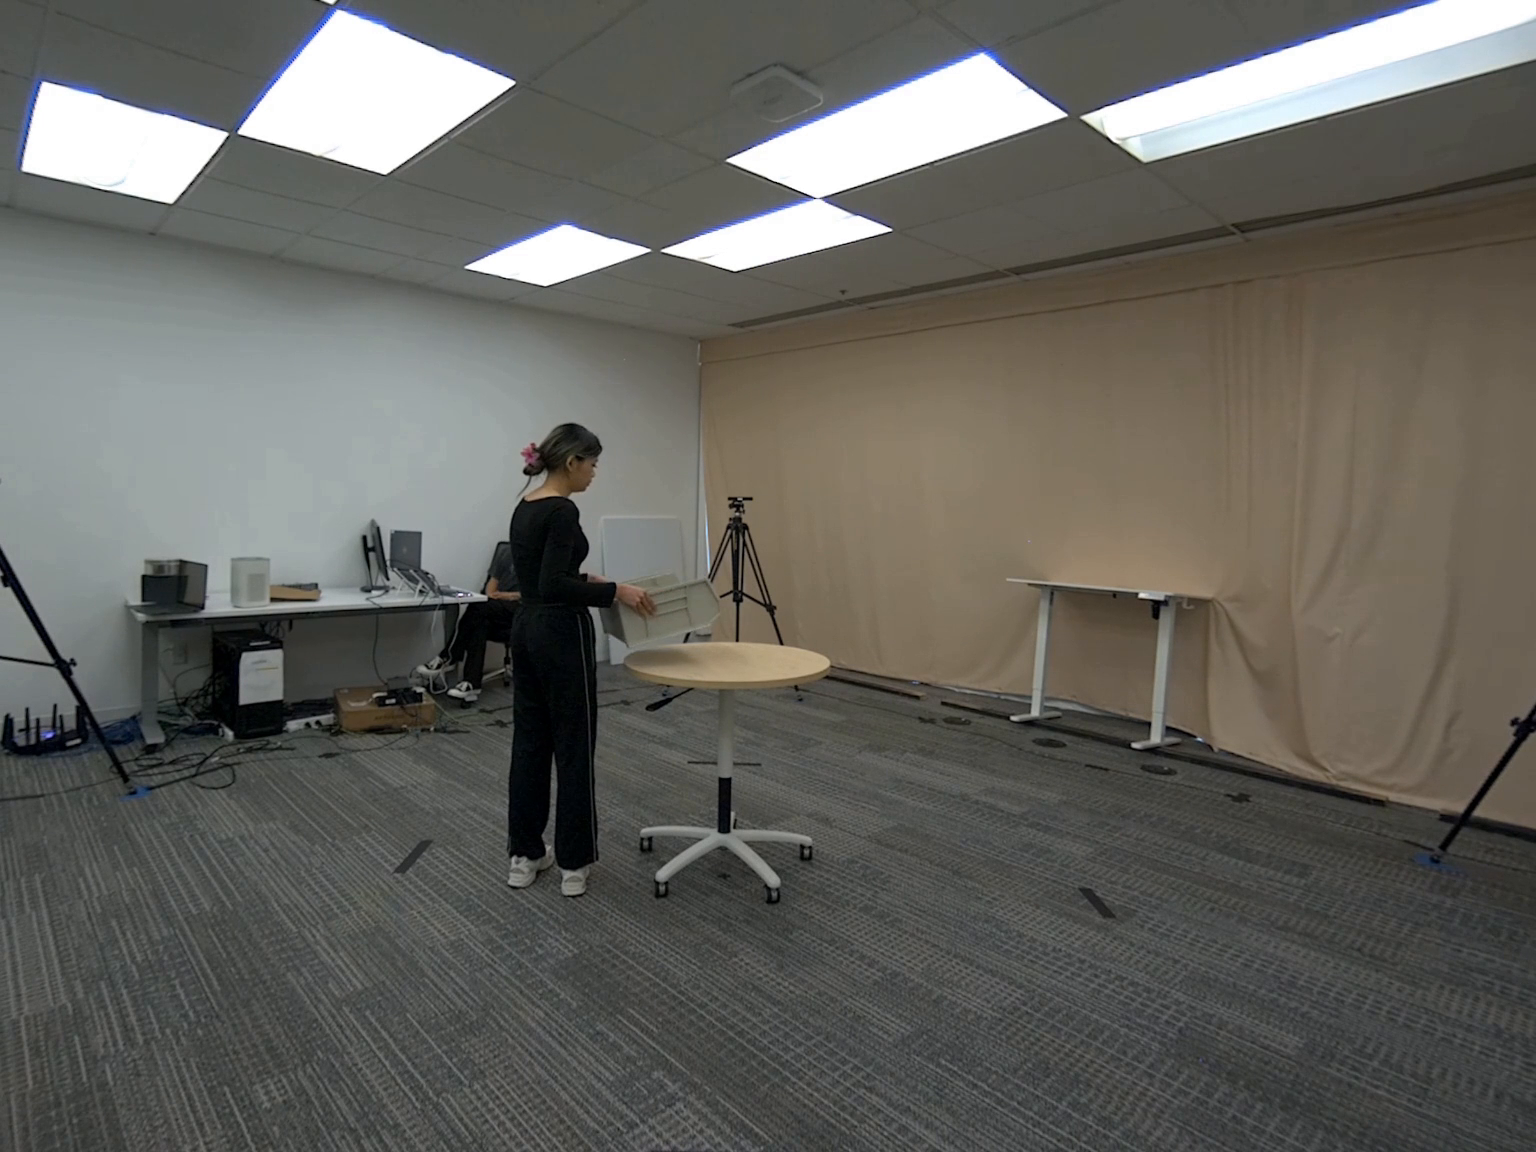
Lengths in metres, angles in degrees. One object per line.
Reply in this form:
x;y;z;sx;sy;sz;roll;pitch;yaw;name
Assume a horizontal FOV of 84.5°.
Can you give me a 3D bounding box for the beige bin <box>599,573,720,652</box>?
-0.426;0.110;3.167;0.373;0.188;0.430;-14;9;-21;beige bin
